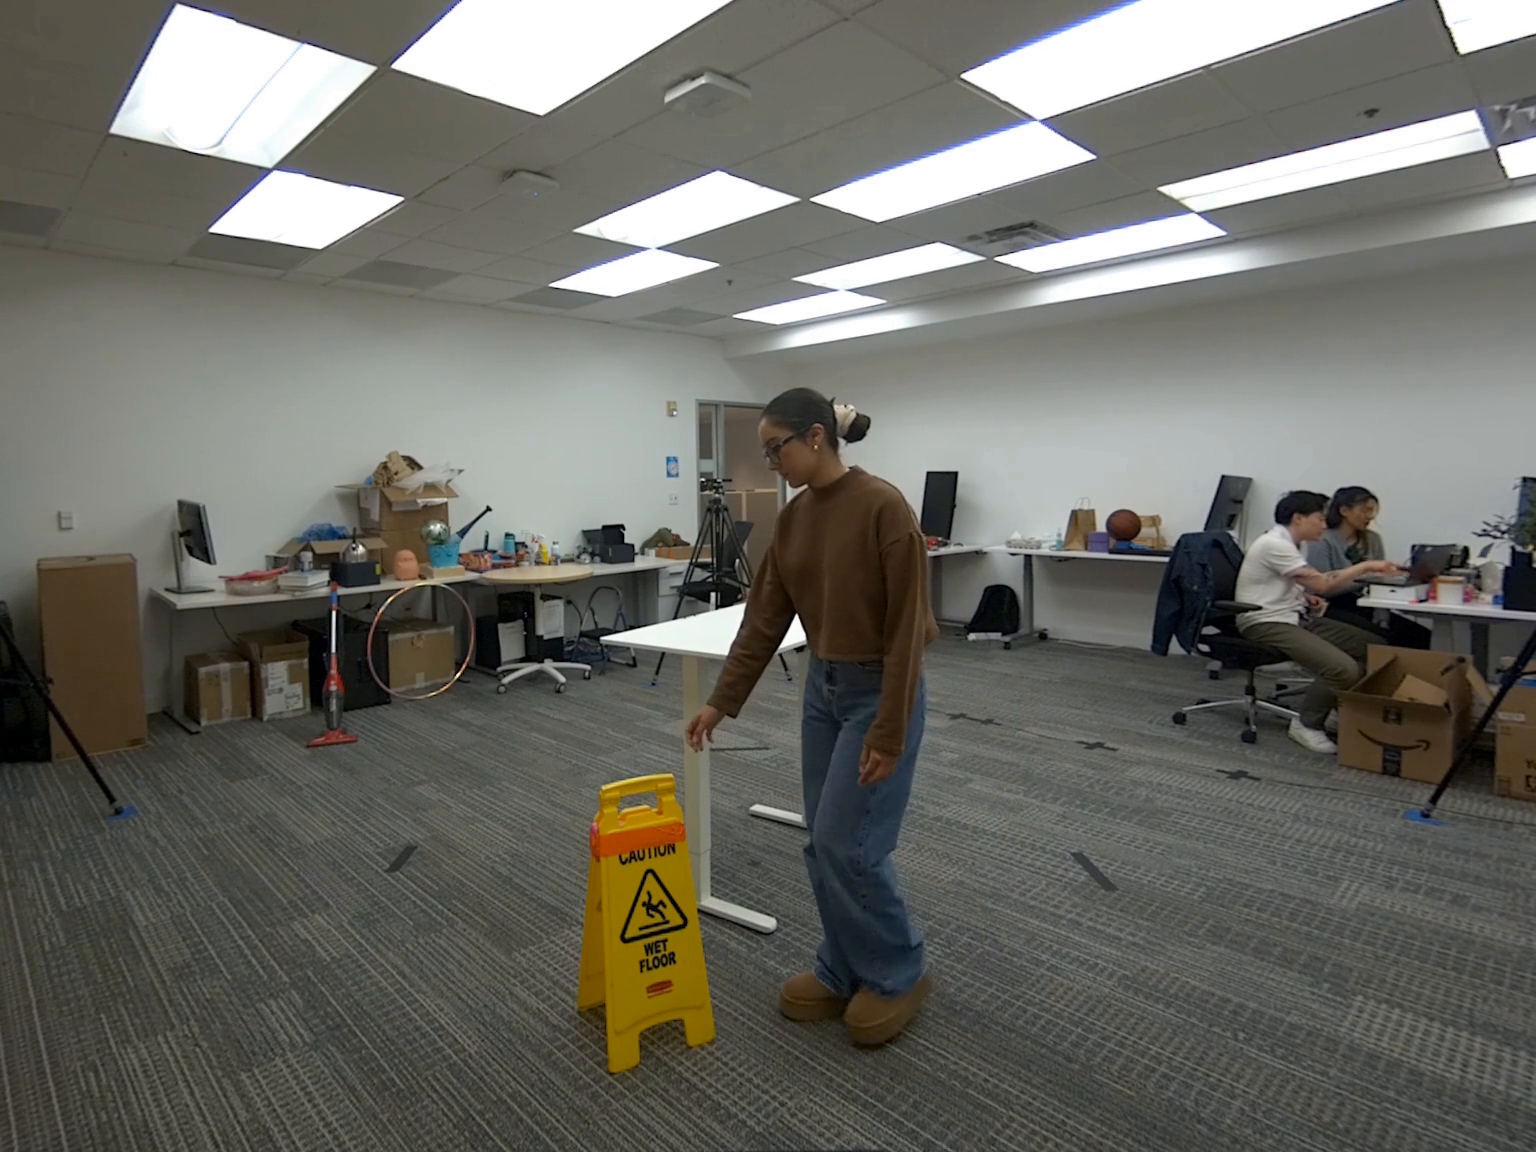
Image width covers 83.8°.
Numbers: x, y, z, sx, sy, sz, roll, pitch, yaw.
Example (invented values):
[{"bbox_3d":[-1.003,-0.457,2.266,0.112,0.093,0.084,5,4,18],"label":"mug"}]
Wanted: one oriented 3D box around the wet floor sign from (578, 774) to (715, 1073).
[{"bbox_3d":[-0.316,0.841,2.169,0.276,0.643,0.297,-3,5,-27],"label":"wet floor sign"}]
